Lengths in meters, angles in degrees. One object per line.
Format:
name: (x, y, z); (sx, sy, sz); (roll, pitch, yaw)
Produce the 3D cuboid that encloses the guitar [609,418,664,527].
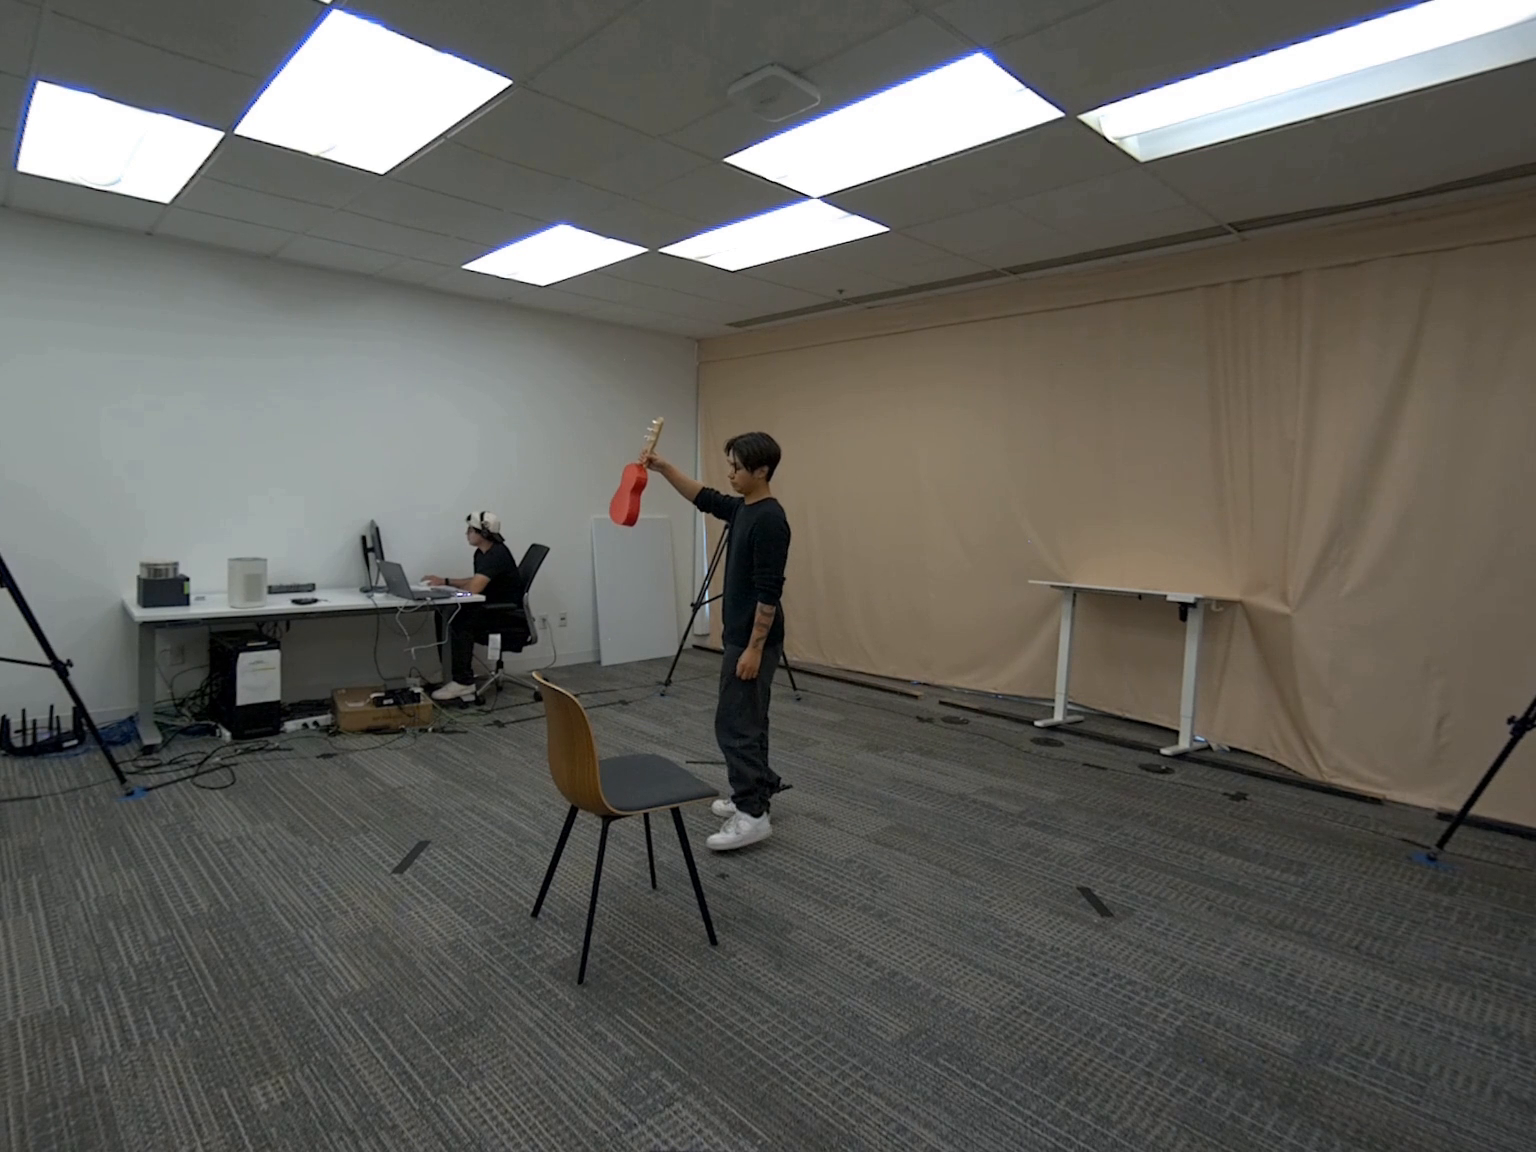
guitar: (-0.584, -0.465, 3.704); (0.069, 0.497, 0.198); (13, 4, -32)
